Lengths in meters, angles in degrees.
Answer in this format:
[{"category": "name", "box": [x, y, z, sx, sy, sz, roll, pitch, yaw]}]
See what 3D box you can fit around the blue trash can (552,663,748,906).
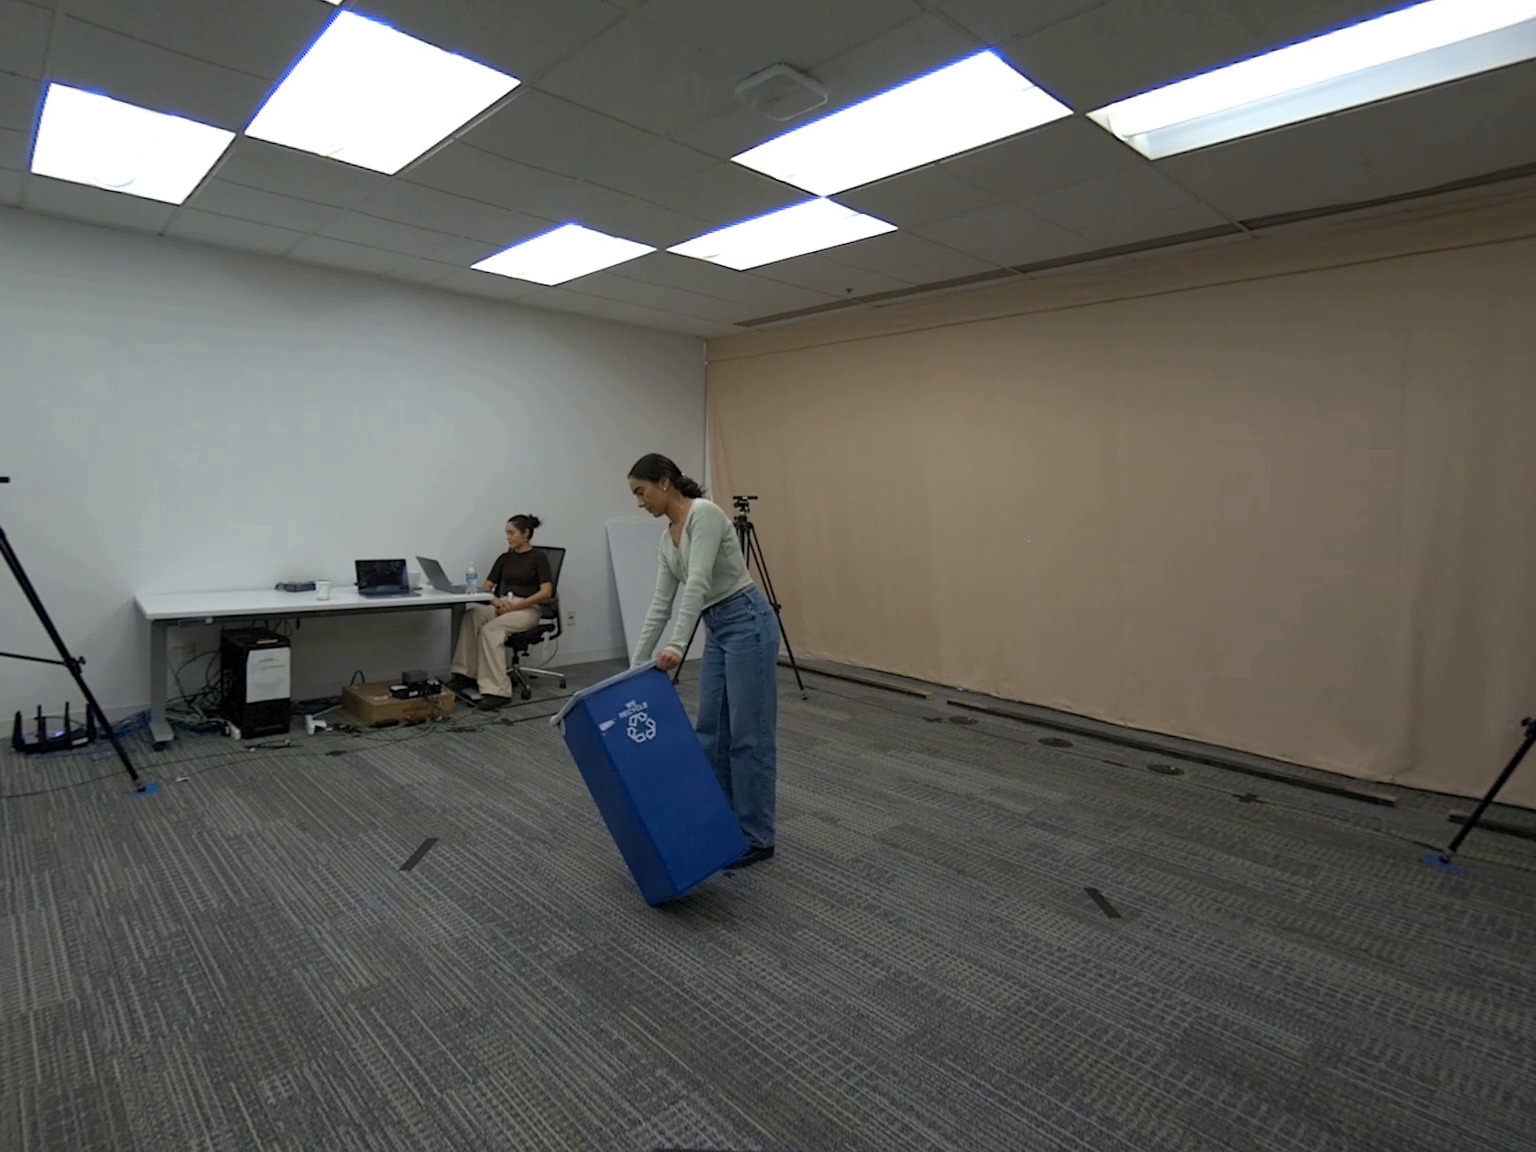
[{"category": "blue trash can", "box": [-0.412, 0.710, 2.932, 0.369, 0.722, 0.379, -20, -14, -36]}]
